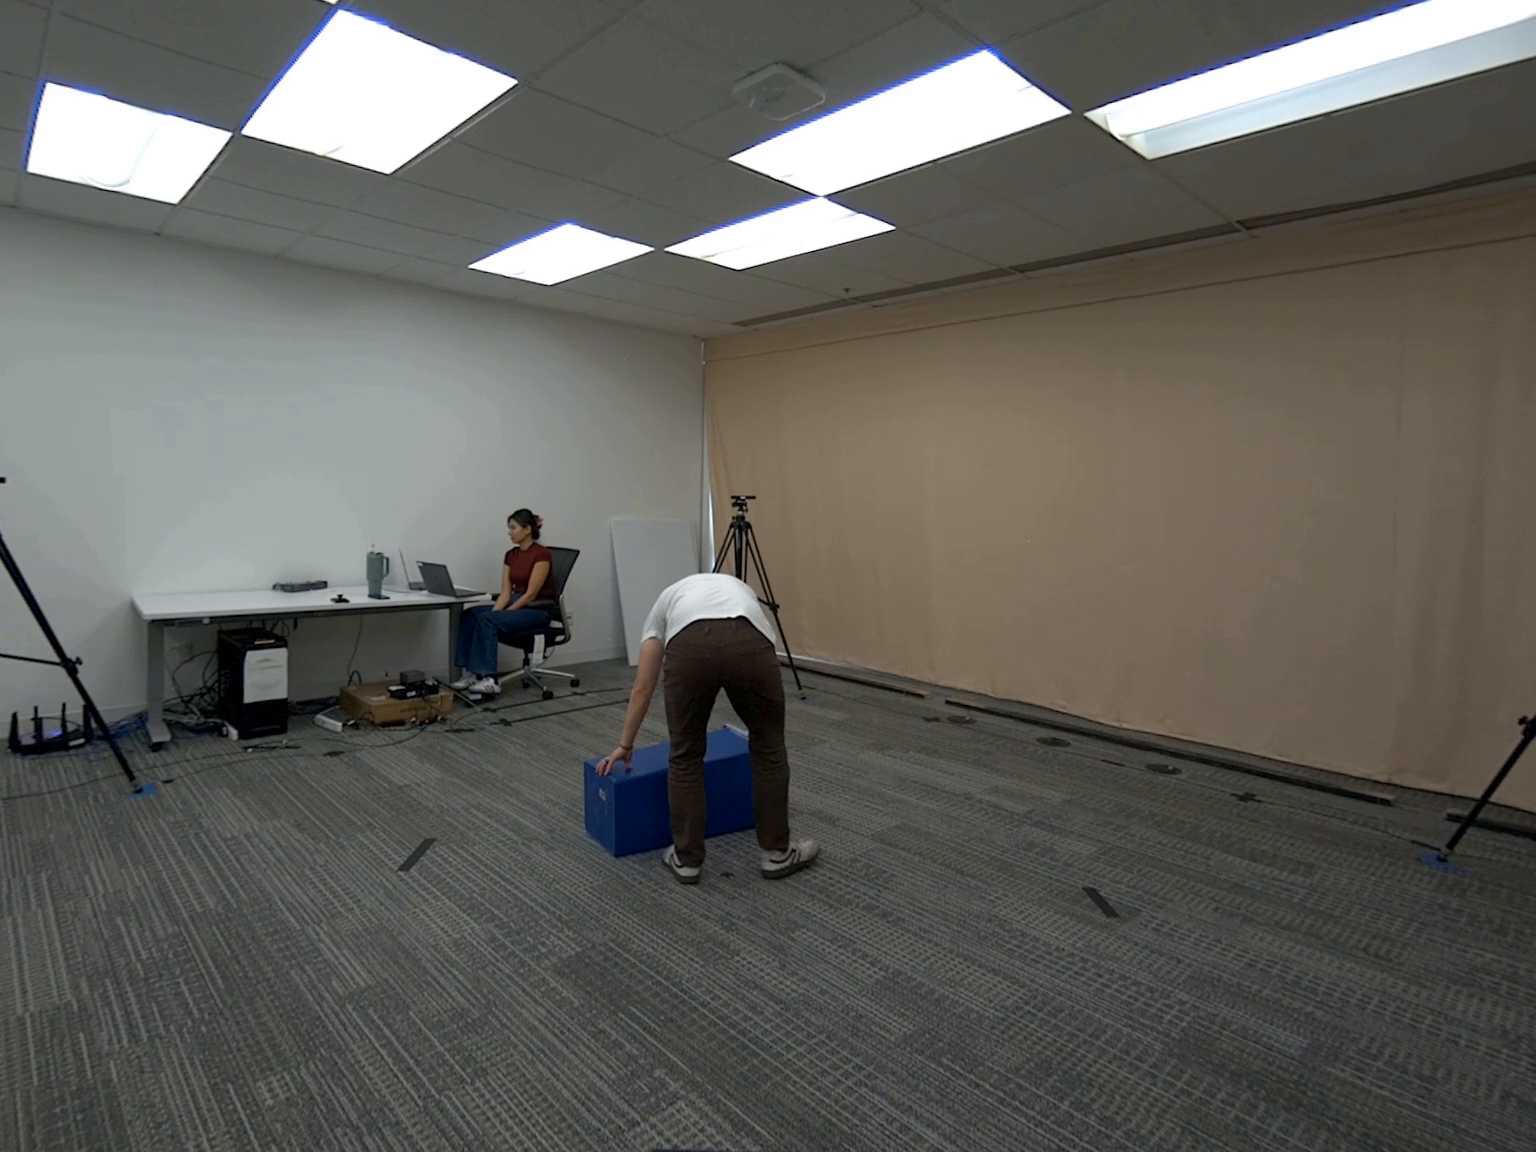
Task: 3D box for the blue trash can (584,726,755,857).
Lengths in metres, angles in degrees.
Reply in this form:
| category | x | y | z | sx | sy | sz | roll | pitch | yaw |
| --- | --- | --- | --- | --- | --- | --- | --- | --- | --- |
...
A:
| category | x | y | z | sx | sy | sz | roll | pitch | yaw |
| --- | --- | --- | --- | --- | --- | --- | --- | --- | --- |
| blue trash can | -0.386 | 0.890 | 3.530 | 0.699 | 0.376 | 0.383 | -4 | 7 | -32 |
